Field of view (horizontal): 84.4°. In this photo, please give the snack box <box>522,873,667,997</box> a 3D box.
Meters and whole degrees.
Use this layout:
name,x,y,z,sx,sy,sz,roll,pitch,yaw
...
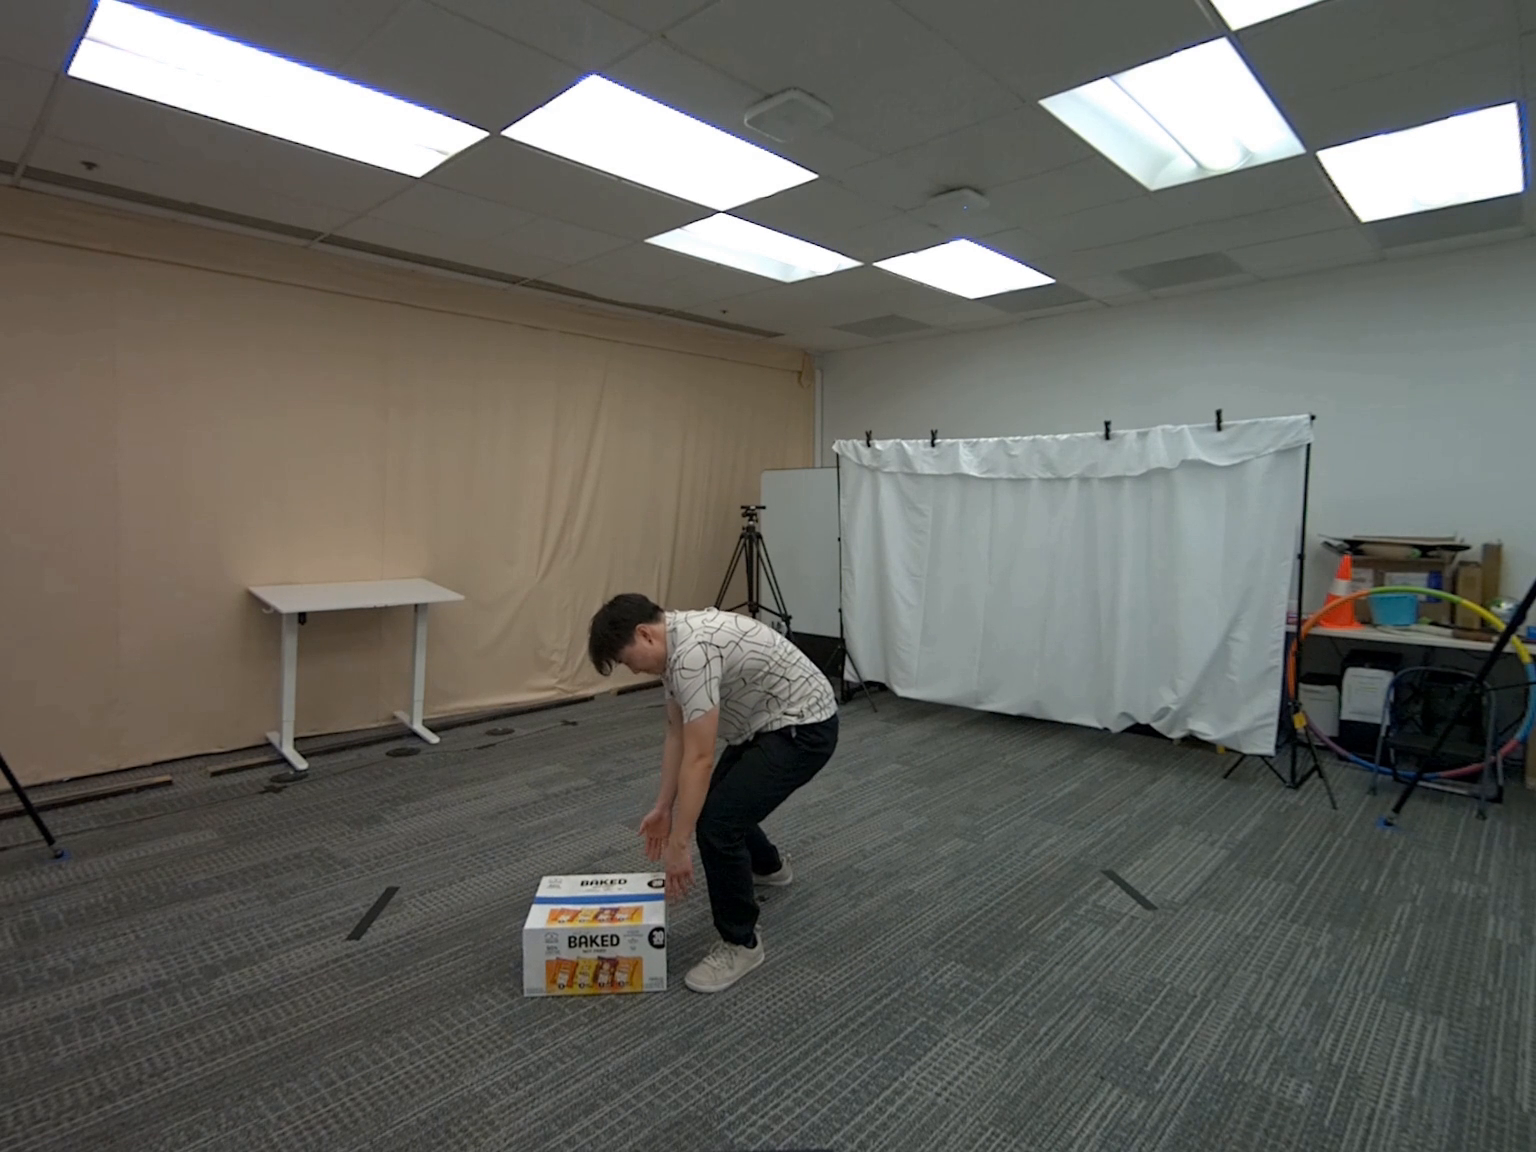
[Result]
name,x,y,z,sx,sy,sz,roll,pitch,yaw
snack box,-0.513,1.082,2.557,0.404,0.205,0.342,-1,5,-4
